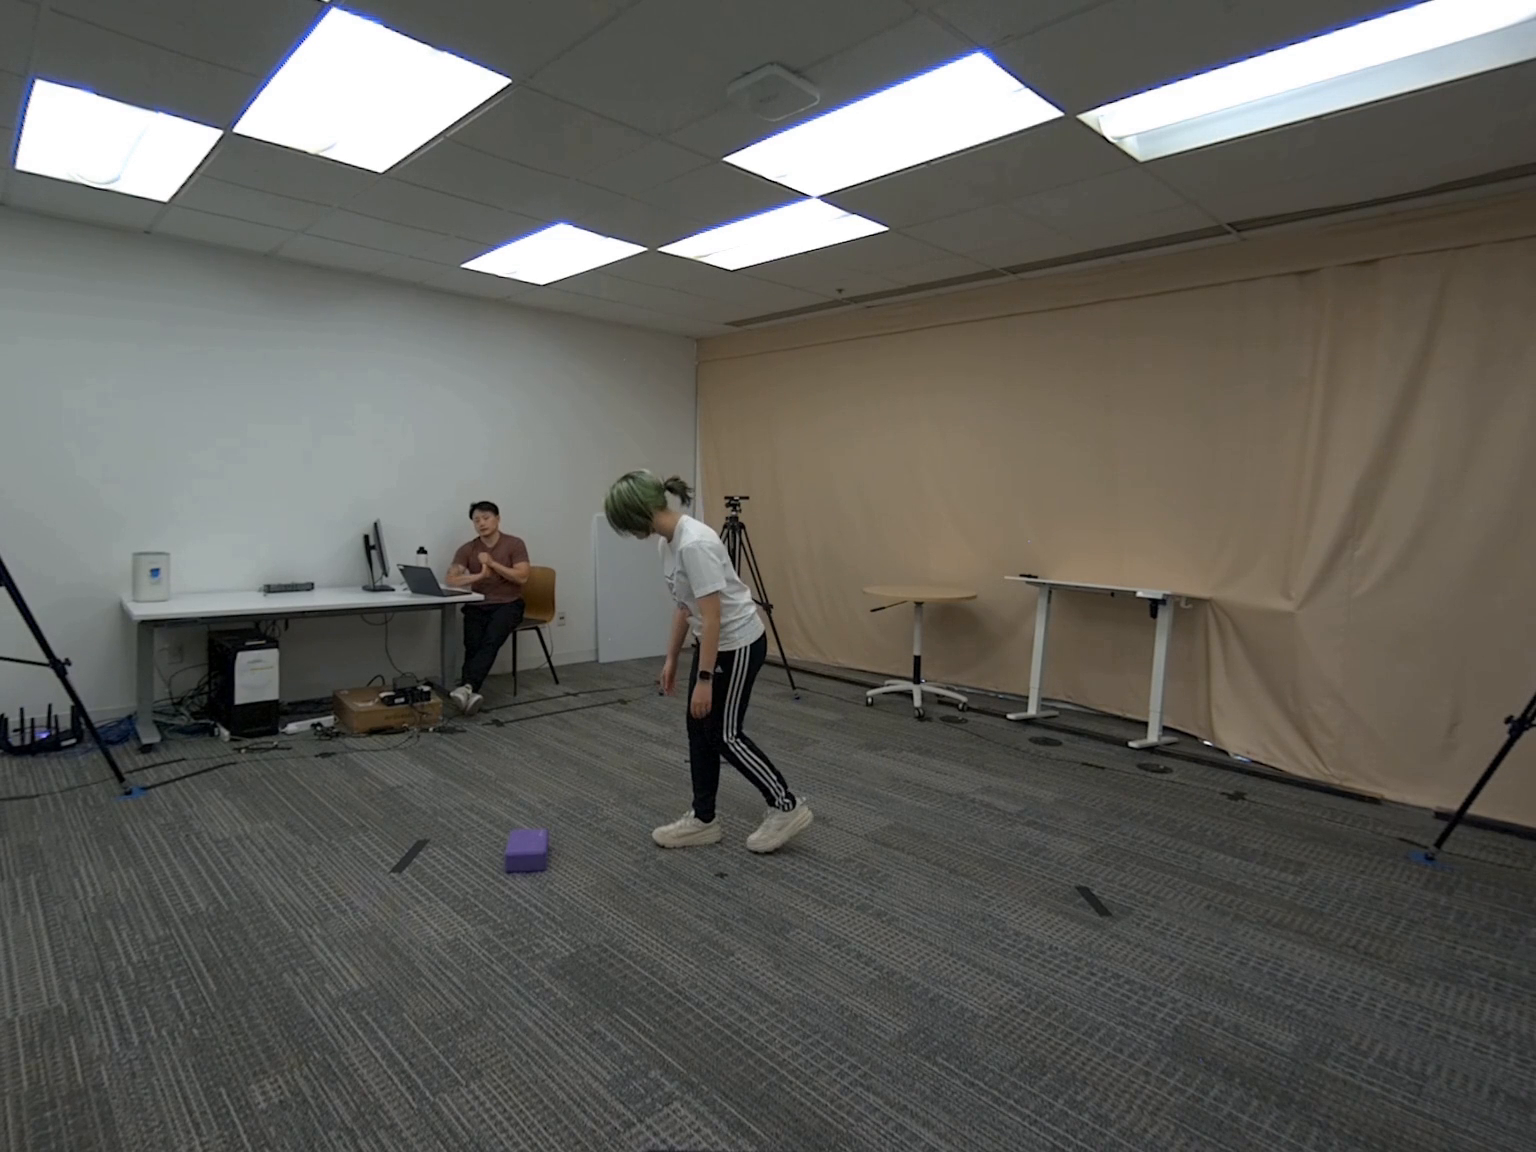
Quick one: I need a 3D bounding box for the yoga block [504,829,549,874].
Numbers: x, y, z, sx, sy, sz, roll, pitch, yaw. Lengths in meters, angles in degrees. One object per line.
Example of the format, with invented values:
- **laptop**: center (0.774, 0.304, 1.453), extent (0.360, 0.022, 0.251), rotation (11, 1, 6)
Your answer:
- **yoga block**: center (-0.921, 1.039, 3.192), extent (0.148, 0.076, 0.232), rotation (0, 6, -11)
